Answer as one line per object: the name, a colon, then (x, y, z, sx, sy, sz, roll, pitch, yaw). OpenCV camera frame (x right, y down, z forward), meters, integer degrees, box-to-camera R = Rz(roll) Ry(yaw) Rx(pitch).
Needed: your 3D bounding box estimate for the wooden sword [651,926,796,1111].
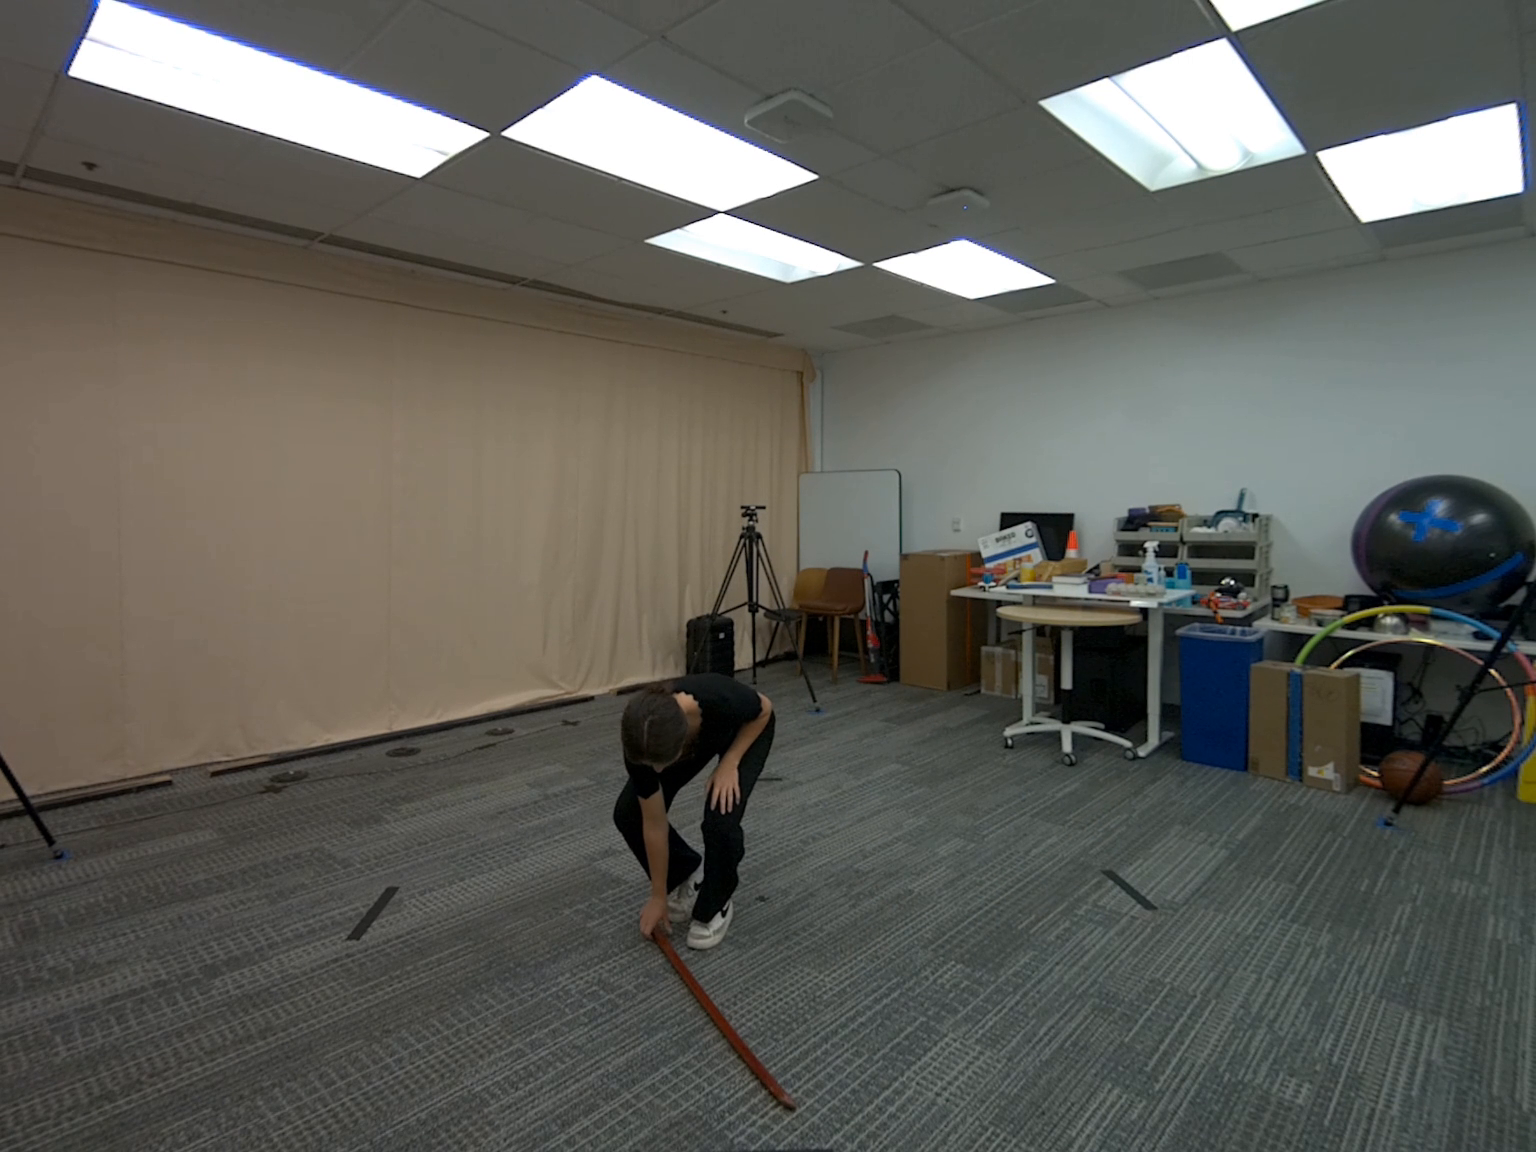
wooden sword: (-0.183, 1.172, 2.393, 0.050, 0.024, 1.053, -2, 5, -27)
